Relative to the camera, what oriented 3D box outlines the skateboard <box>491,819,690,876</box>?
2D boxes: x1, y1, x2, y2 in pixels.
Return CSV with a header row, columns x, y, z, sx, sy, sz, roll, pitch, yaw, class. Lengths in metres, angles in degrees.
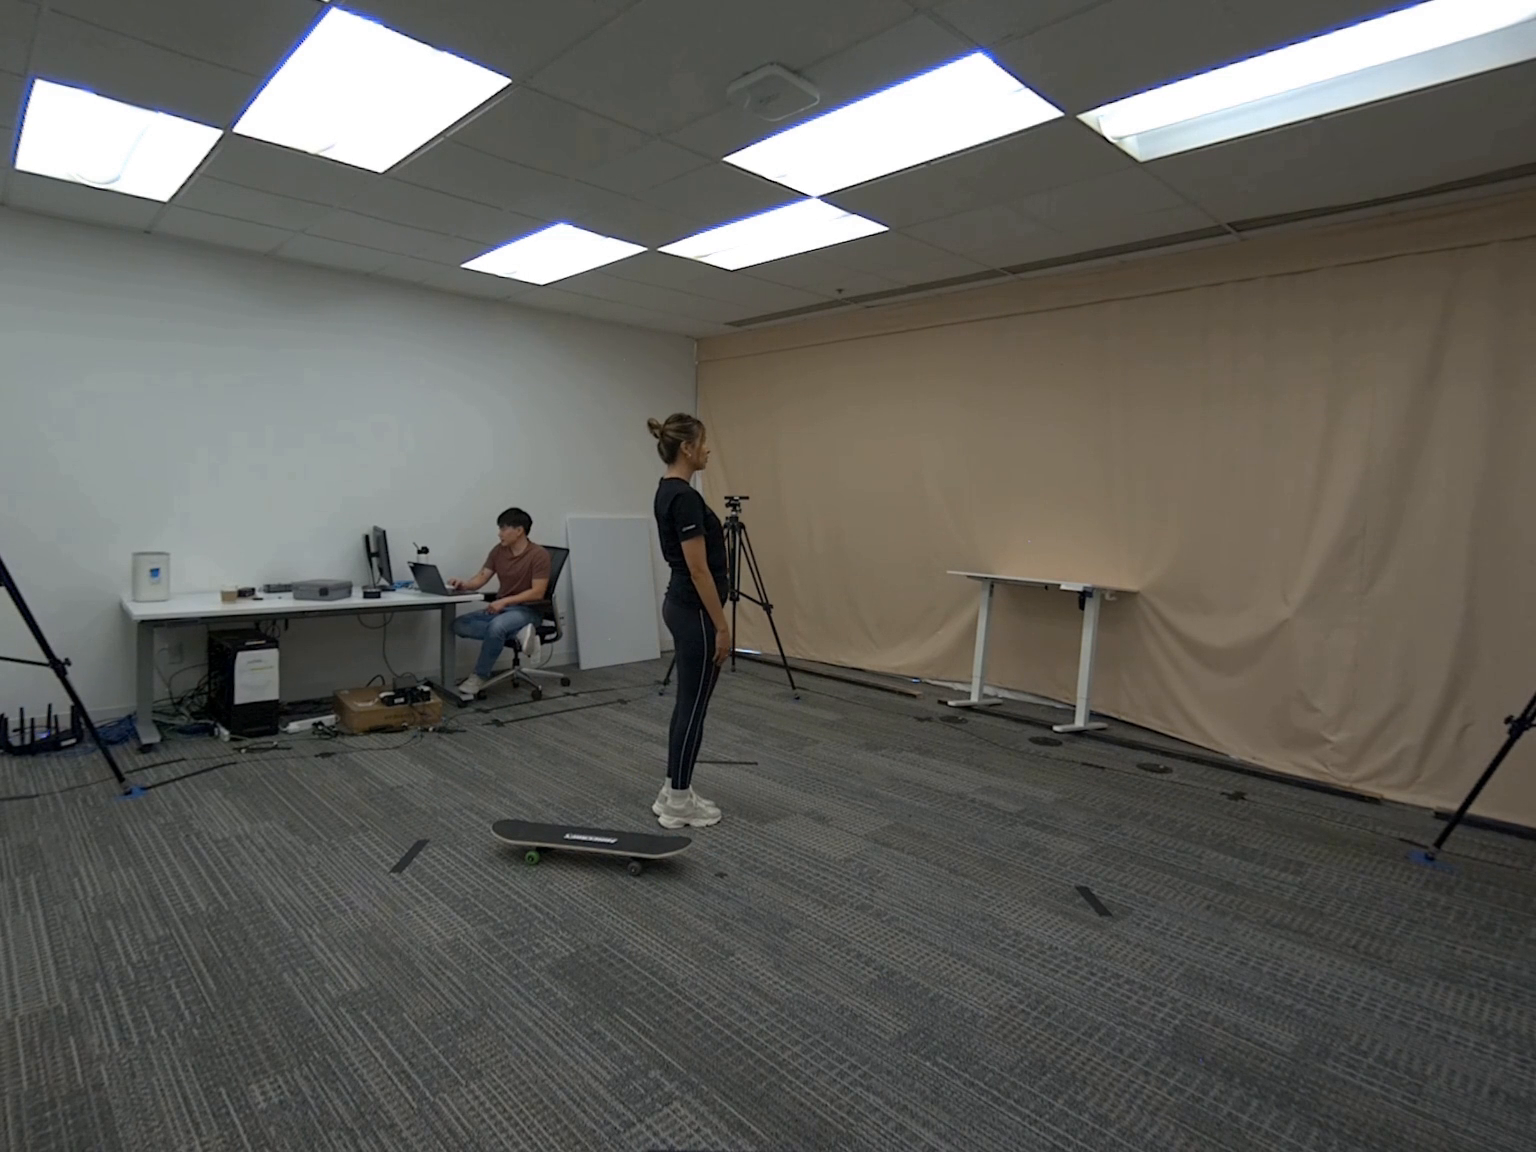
x,y,z,sx,sy,sz,roll,pitch,yaw,class
-0.680,1.026,3.193,0.792,0.110,0.192,3,5,10,skateboard
